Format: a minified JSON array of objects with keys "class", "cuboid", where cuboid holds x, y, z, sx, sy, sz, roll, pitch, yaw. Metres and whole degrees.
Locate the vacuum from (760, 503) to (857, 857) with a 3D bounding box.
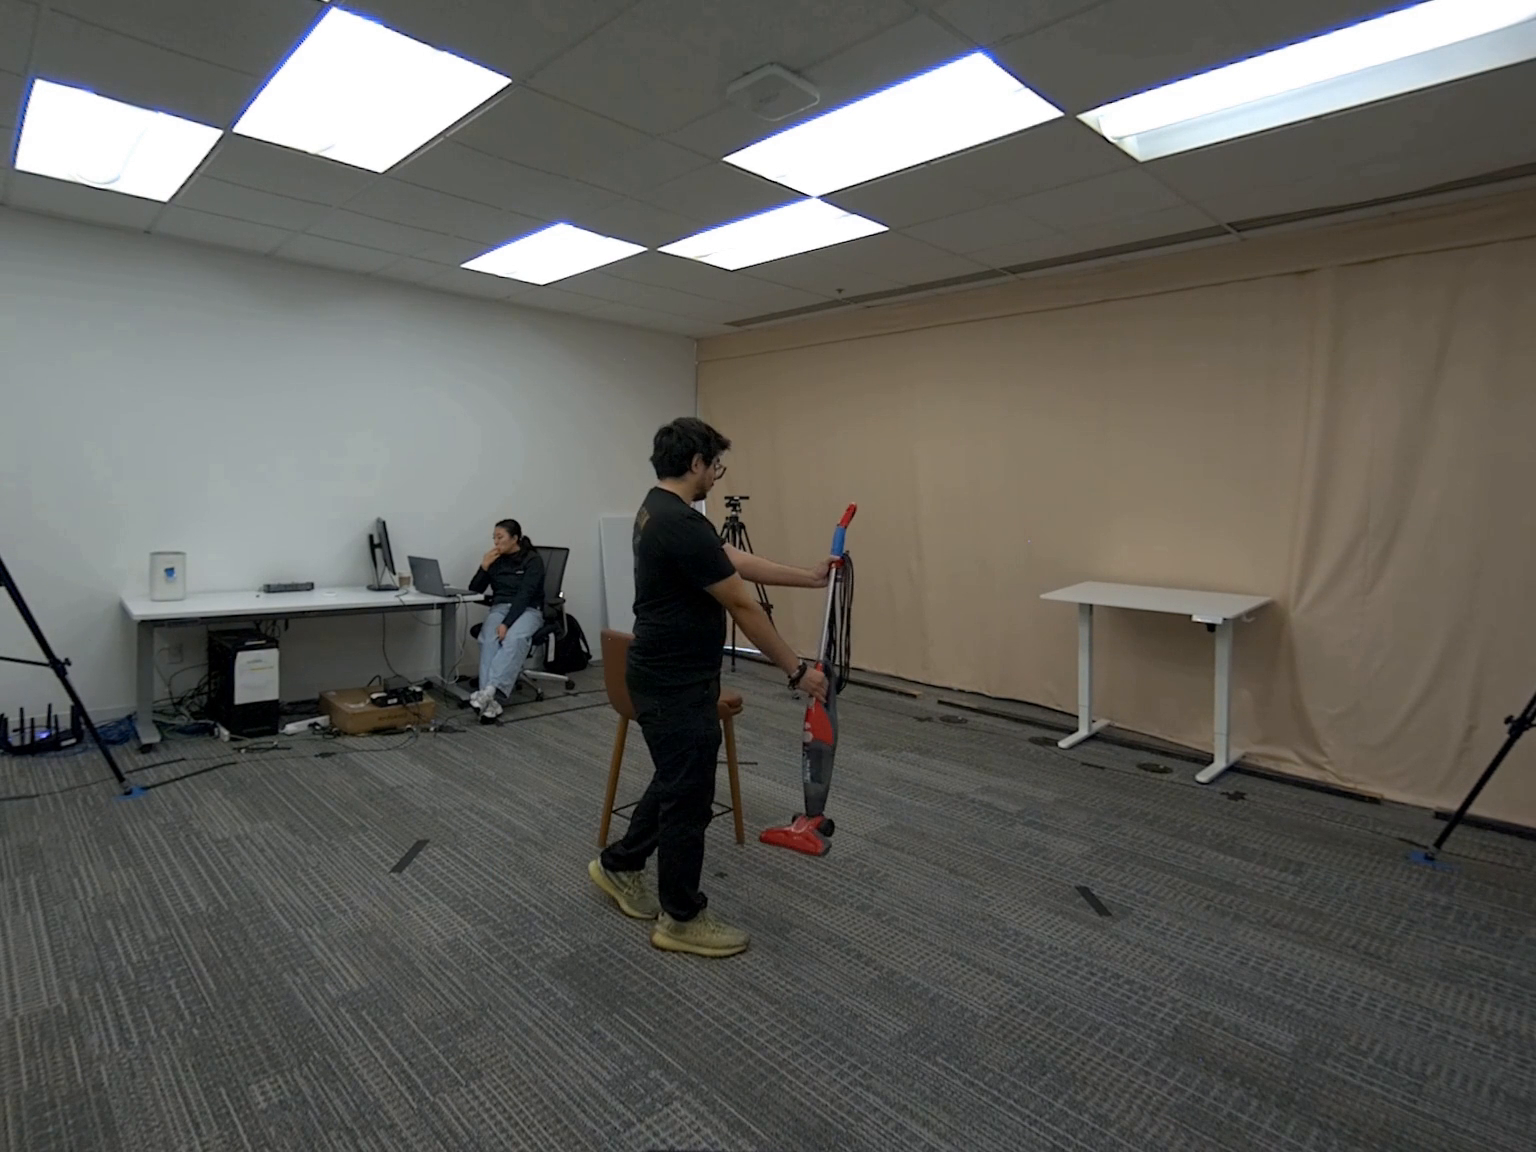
[{"class":"vacuum","cuboid":[0.189,0.272,2.634,0.140,1.058,0.257,19,-17,-31]}]
